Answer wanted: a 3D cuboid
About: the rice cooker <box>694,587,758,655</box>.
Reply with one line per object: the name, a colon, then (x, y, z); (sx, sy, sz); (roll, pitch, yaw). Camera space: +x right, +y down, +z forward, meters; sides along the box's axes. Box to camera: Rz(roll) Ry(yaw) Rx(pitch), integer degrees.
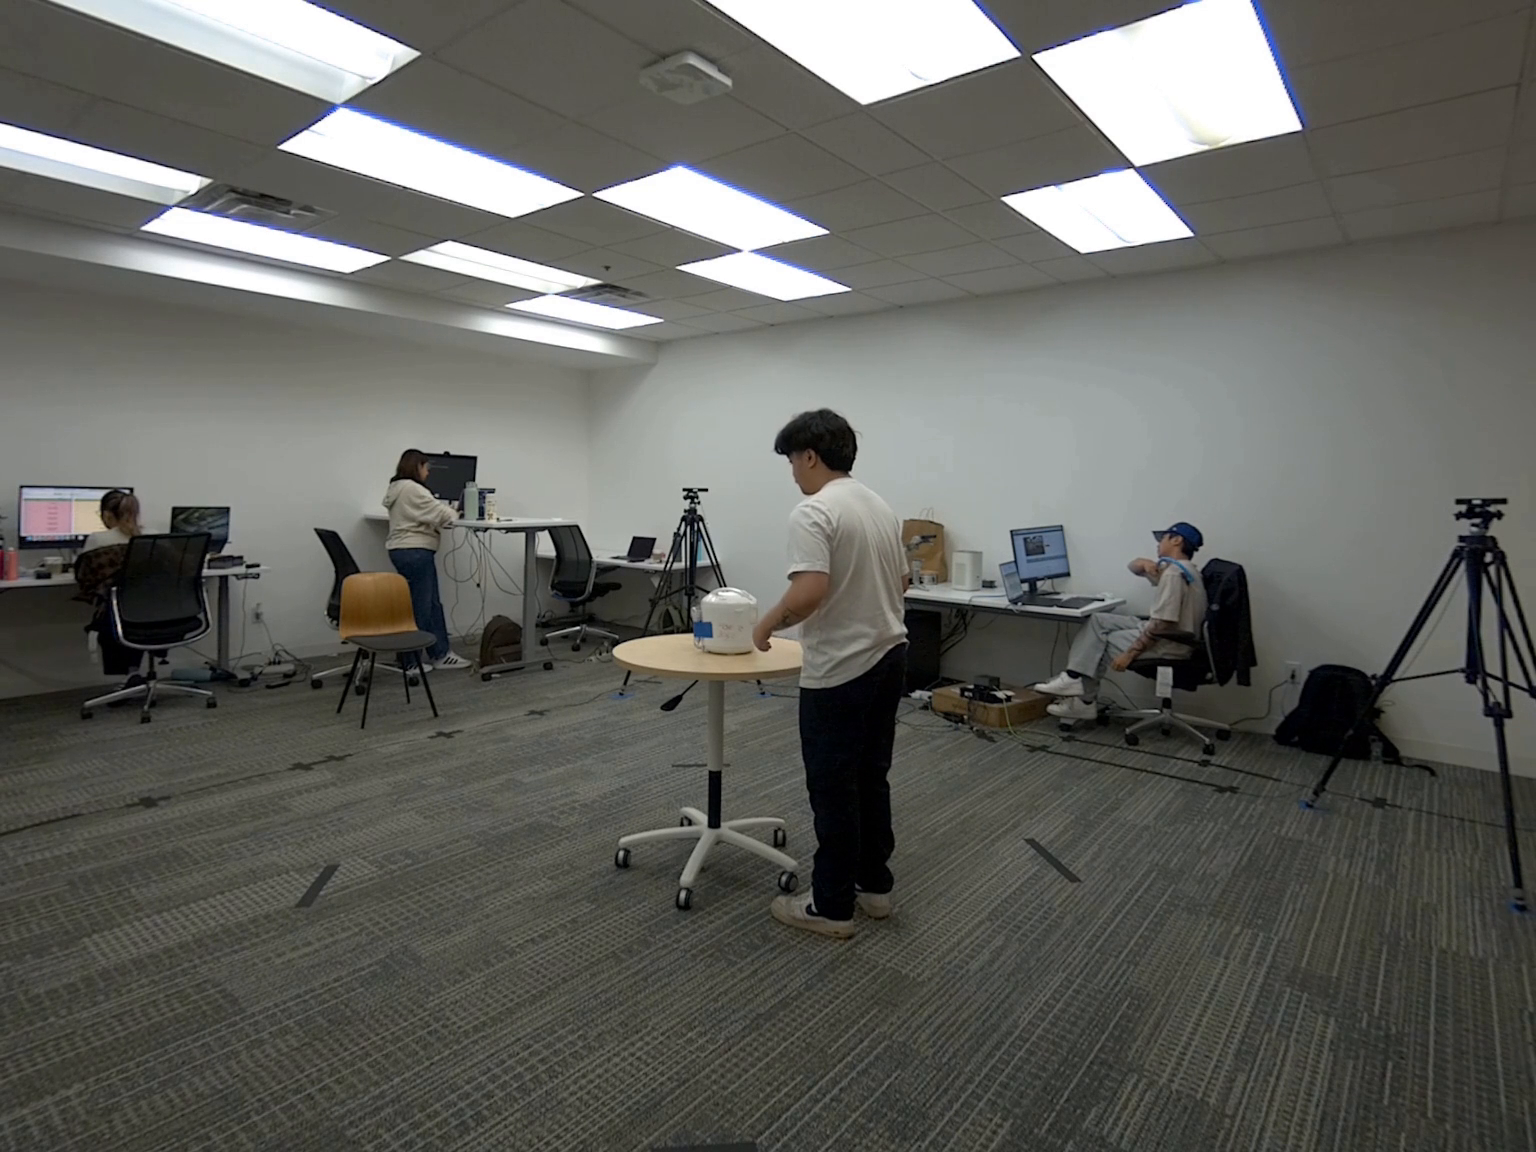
rice cooker: (-0.151, 0.153, 3.125); (0.227, 0.232, 0.212); (3, 5, 31)
